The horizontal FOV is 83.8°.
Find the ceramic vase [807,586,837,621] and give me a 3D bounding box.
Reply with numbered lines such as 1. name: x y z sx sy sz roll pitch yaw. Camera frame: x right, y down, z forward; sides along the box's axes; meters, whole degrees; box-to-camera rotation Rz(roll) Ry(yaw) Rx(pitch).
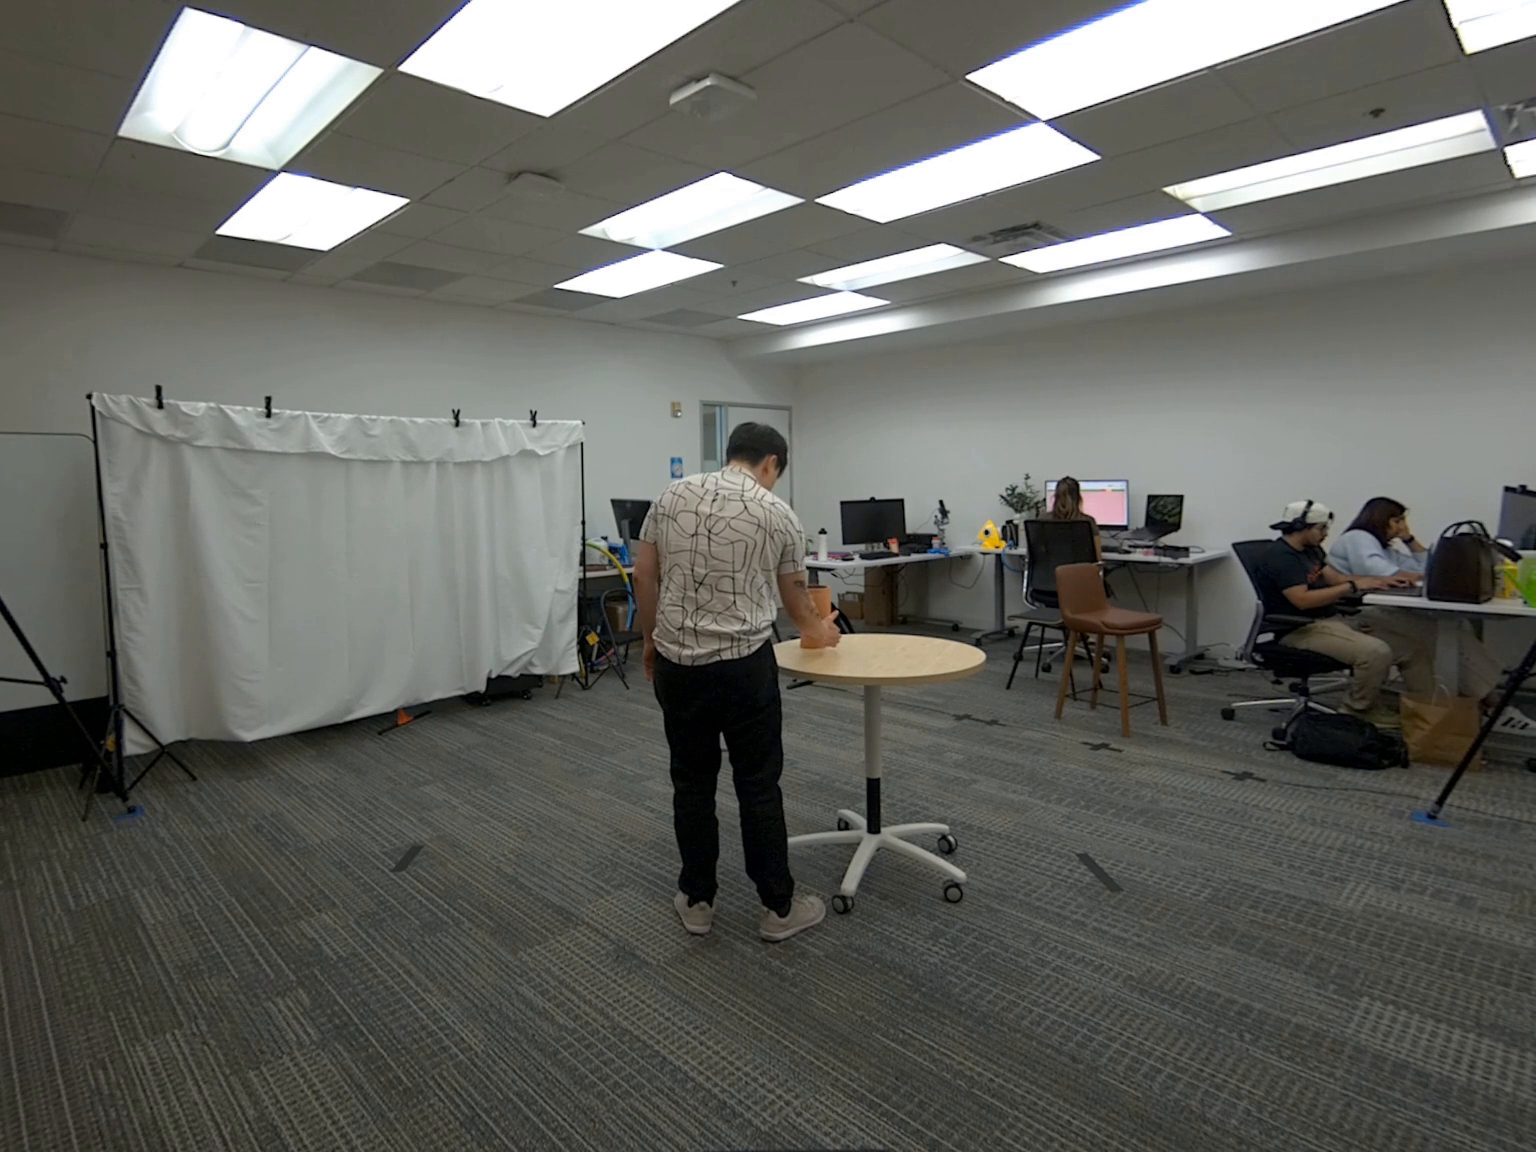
1. ceramic vase: 0.173 0.150 3.138 0.155 0.219 0.138 -5 5 -40
